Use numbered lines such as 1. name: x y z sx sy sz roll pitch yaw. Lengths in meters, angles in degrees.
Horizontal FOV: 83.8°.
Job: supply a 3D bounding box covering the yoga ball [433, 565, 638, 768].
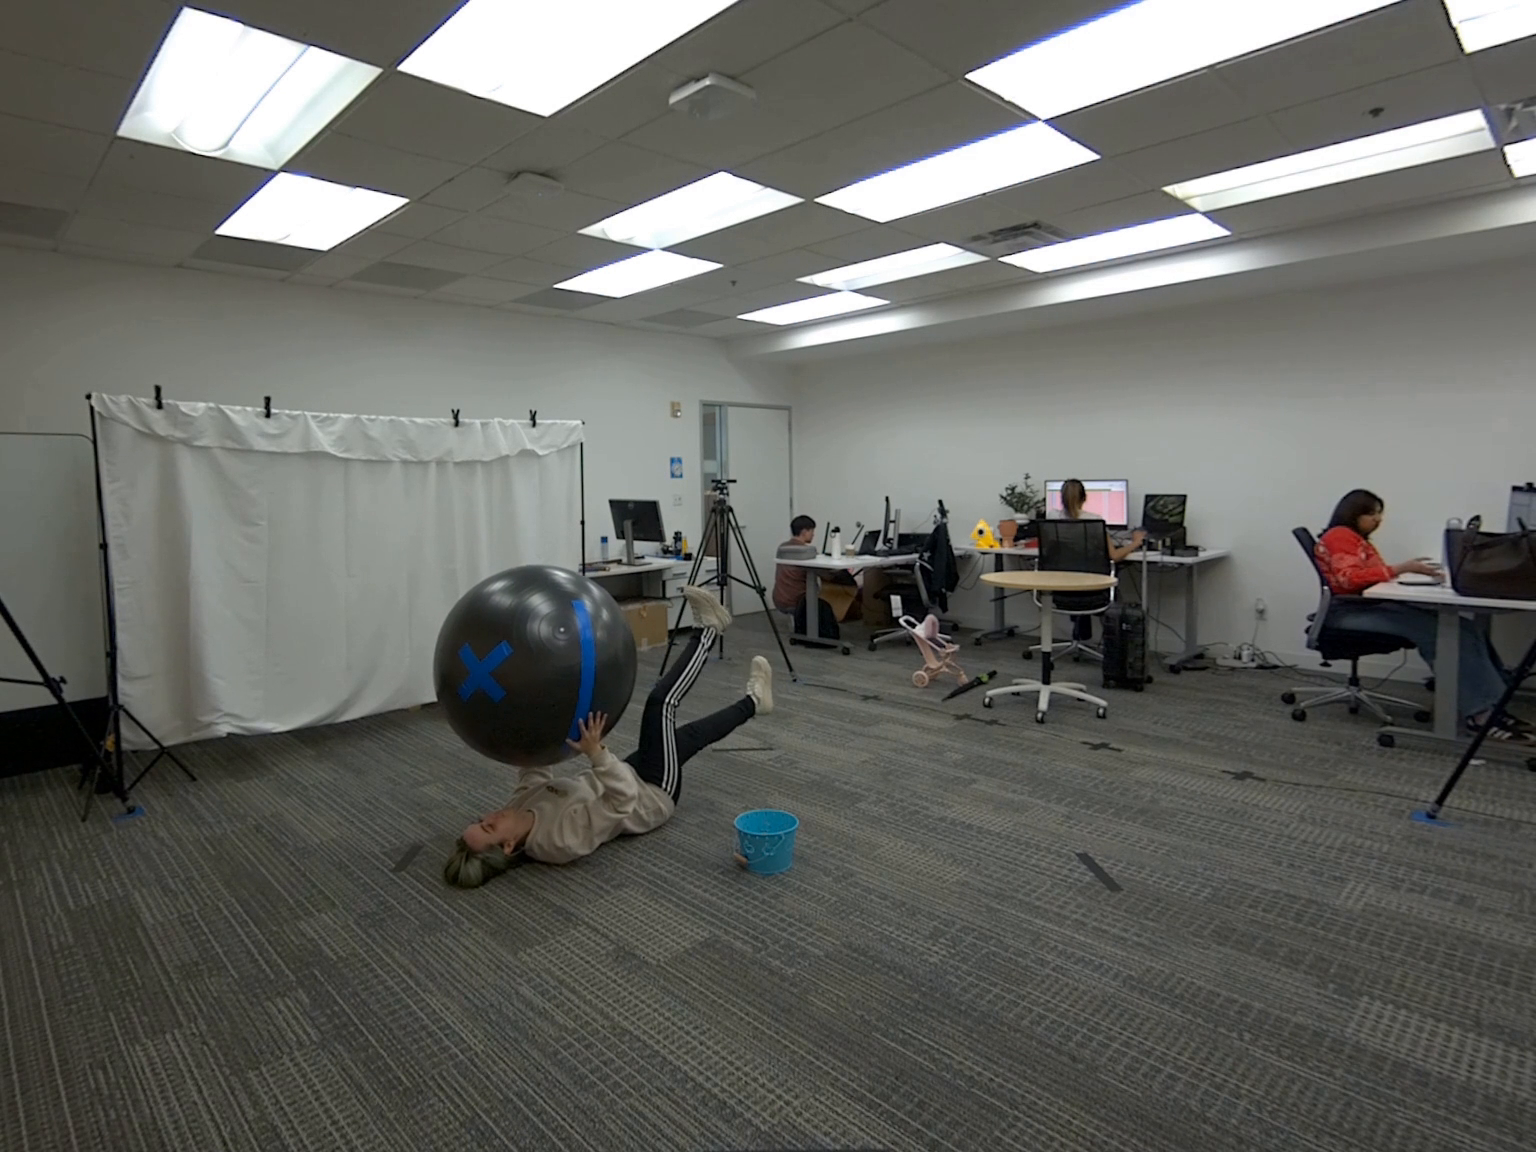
1. yoga ball: -0.888 0.339 3.251 0.757 0.755 0.762 -1 5 -2
